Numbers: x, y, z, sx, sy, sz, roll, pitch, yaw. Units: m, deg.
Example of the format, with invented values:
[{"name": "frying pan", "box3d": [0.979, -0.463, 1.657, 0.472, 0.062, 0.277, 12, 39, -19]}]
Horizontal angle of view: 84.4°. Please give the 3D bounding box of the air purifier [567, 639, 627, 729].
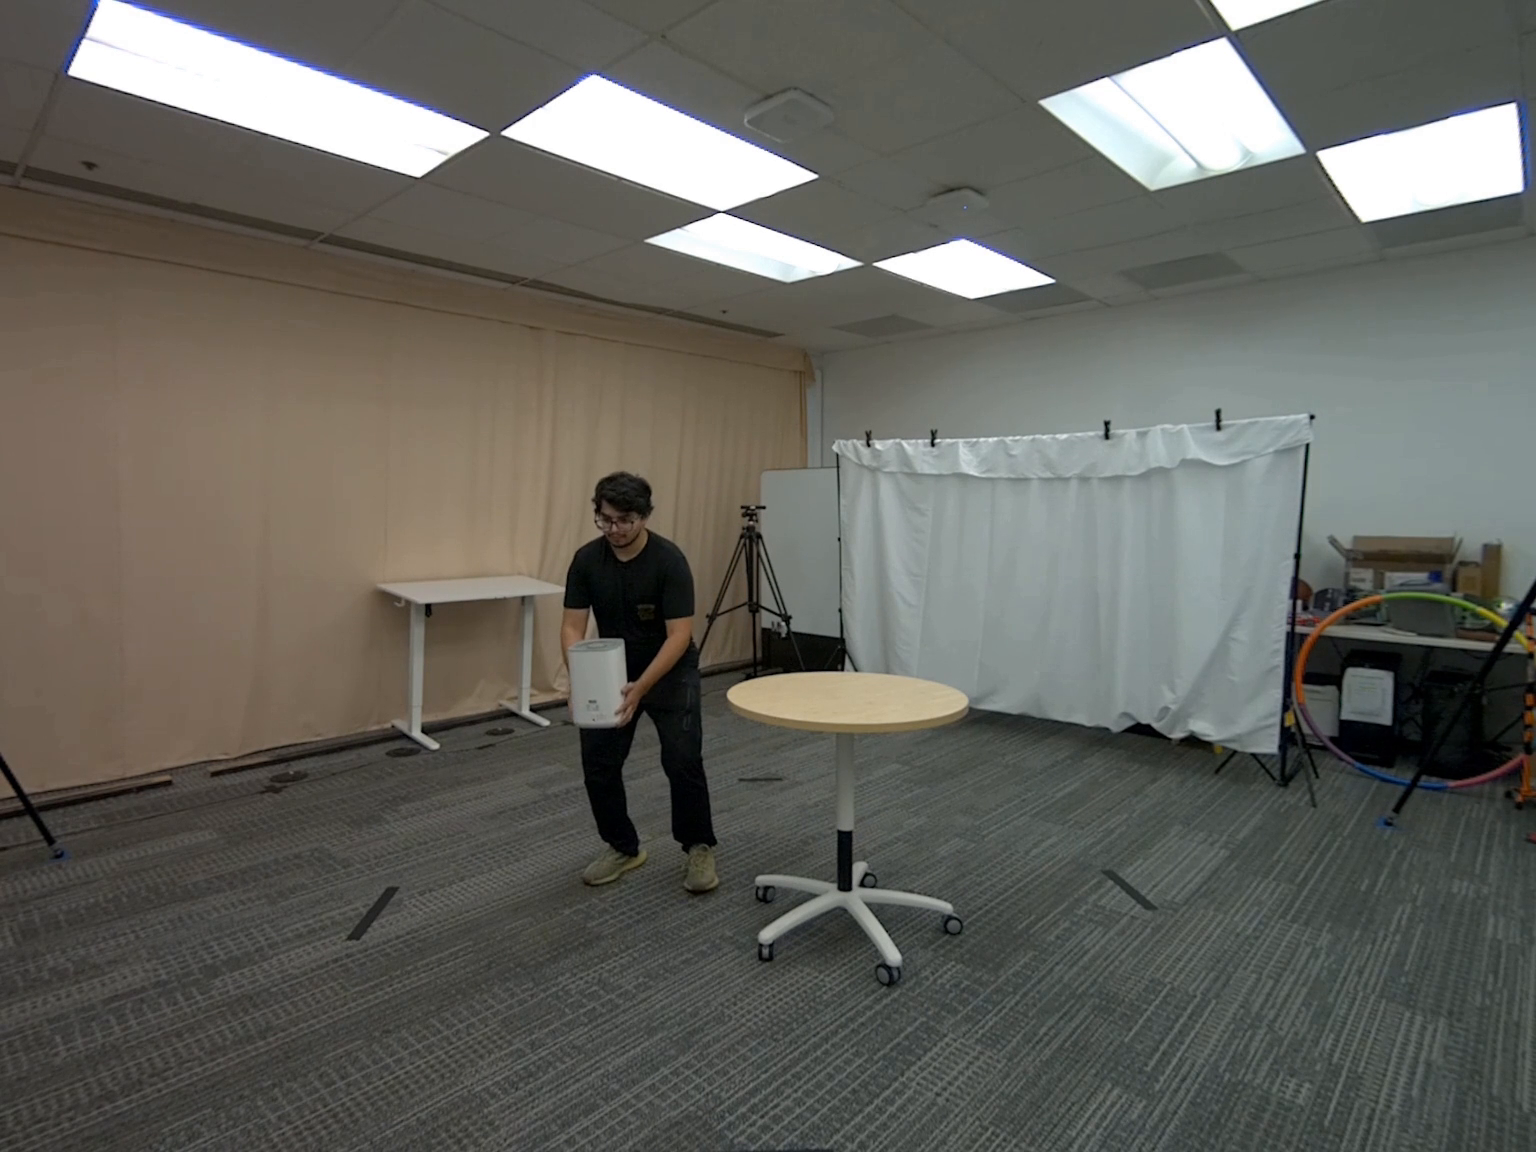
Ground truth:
[{"name": "air purifier", "box3d": [-0.559, 0.353, 2.780, 0.172, 0.264, 0.171, 0, 6, 3]}]
